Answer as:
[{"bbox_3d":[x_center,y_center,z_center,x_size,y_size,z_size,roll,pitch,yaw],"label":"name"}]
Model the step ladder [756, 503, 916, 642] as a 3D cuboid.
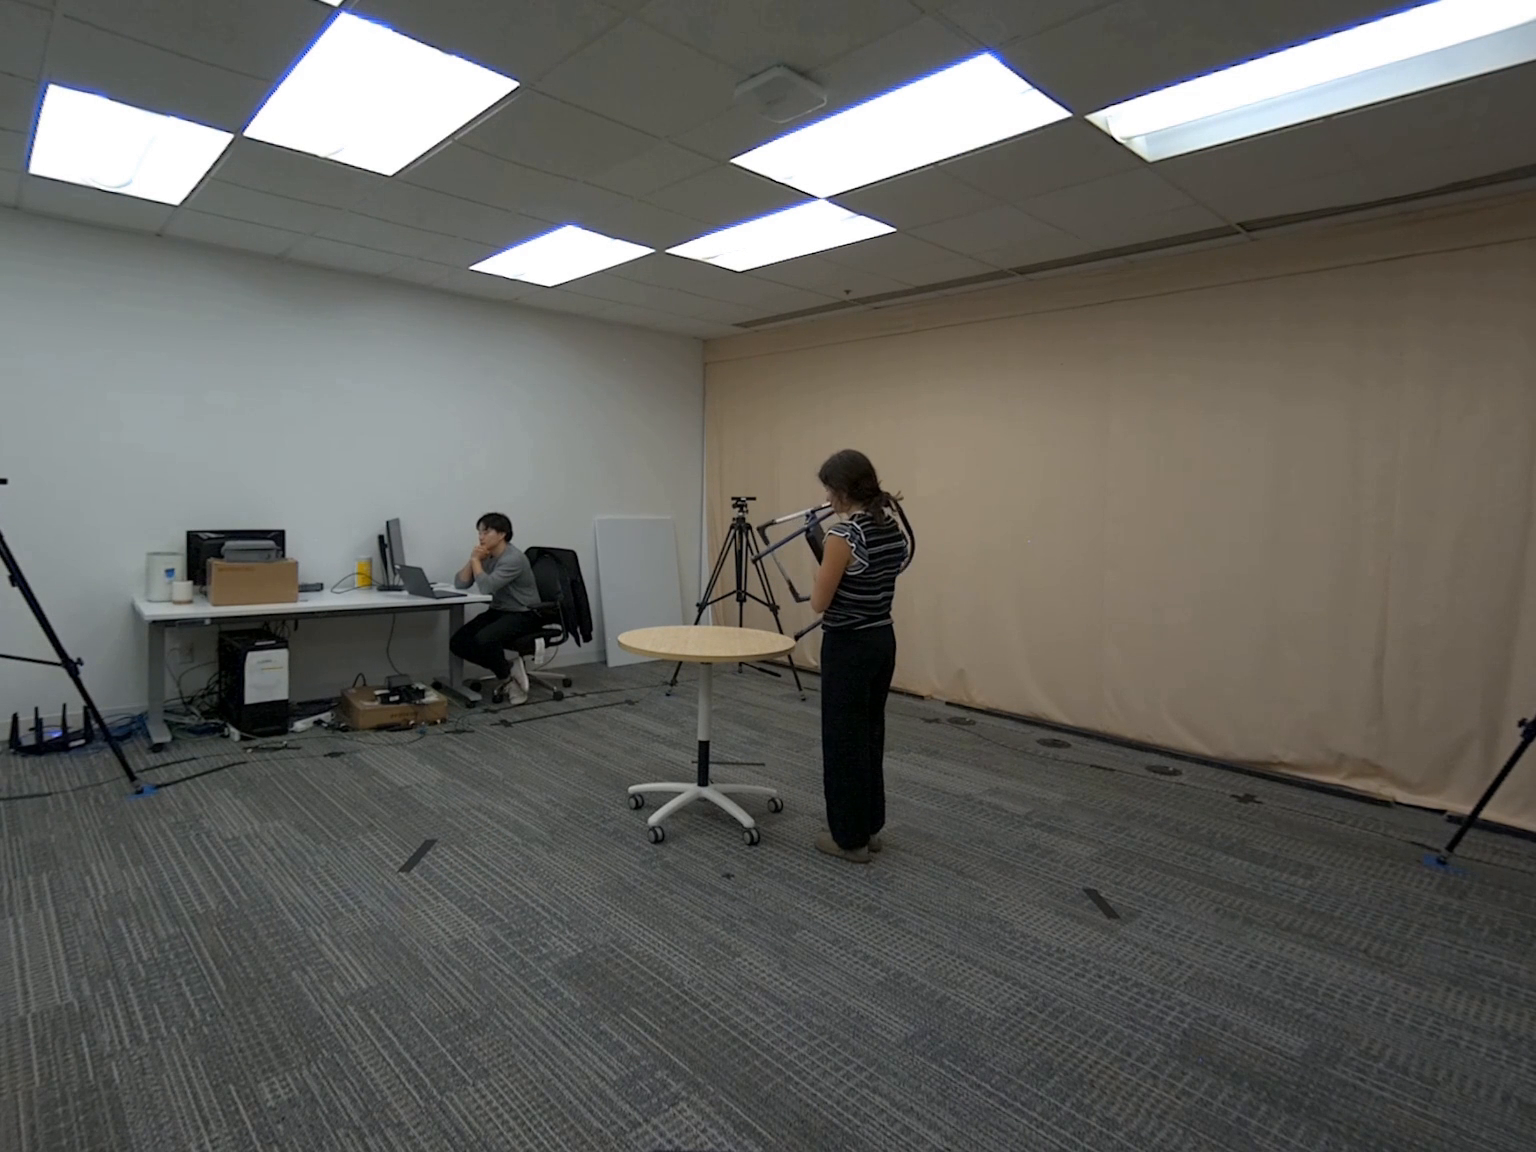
[{"bbox_3d":[0.291,-0.093,3.512,0.610,0.422,0.354,-23,22,15],"label":"step ladder"}]
